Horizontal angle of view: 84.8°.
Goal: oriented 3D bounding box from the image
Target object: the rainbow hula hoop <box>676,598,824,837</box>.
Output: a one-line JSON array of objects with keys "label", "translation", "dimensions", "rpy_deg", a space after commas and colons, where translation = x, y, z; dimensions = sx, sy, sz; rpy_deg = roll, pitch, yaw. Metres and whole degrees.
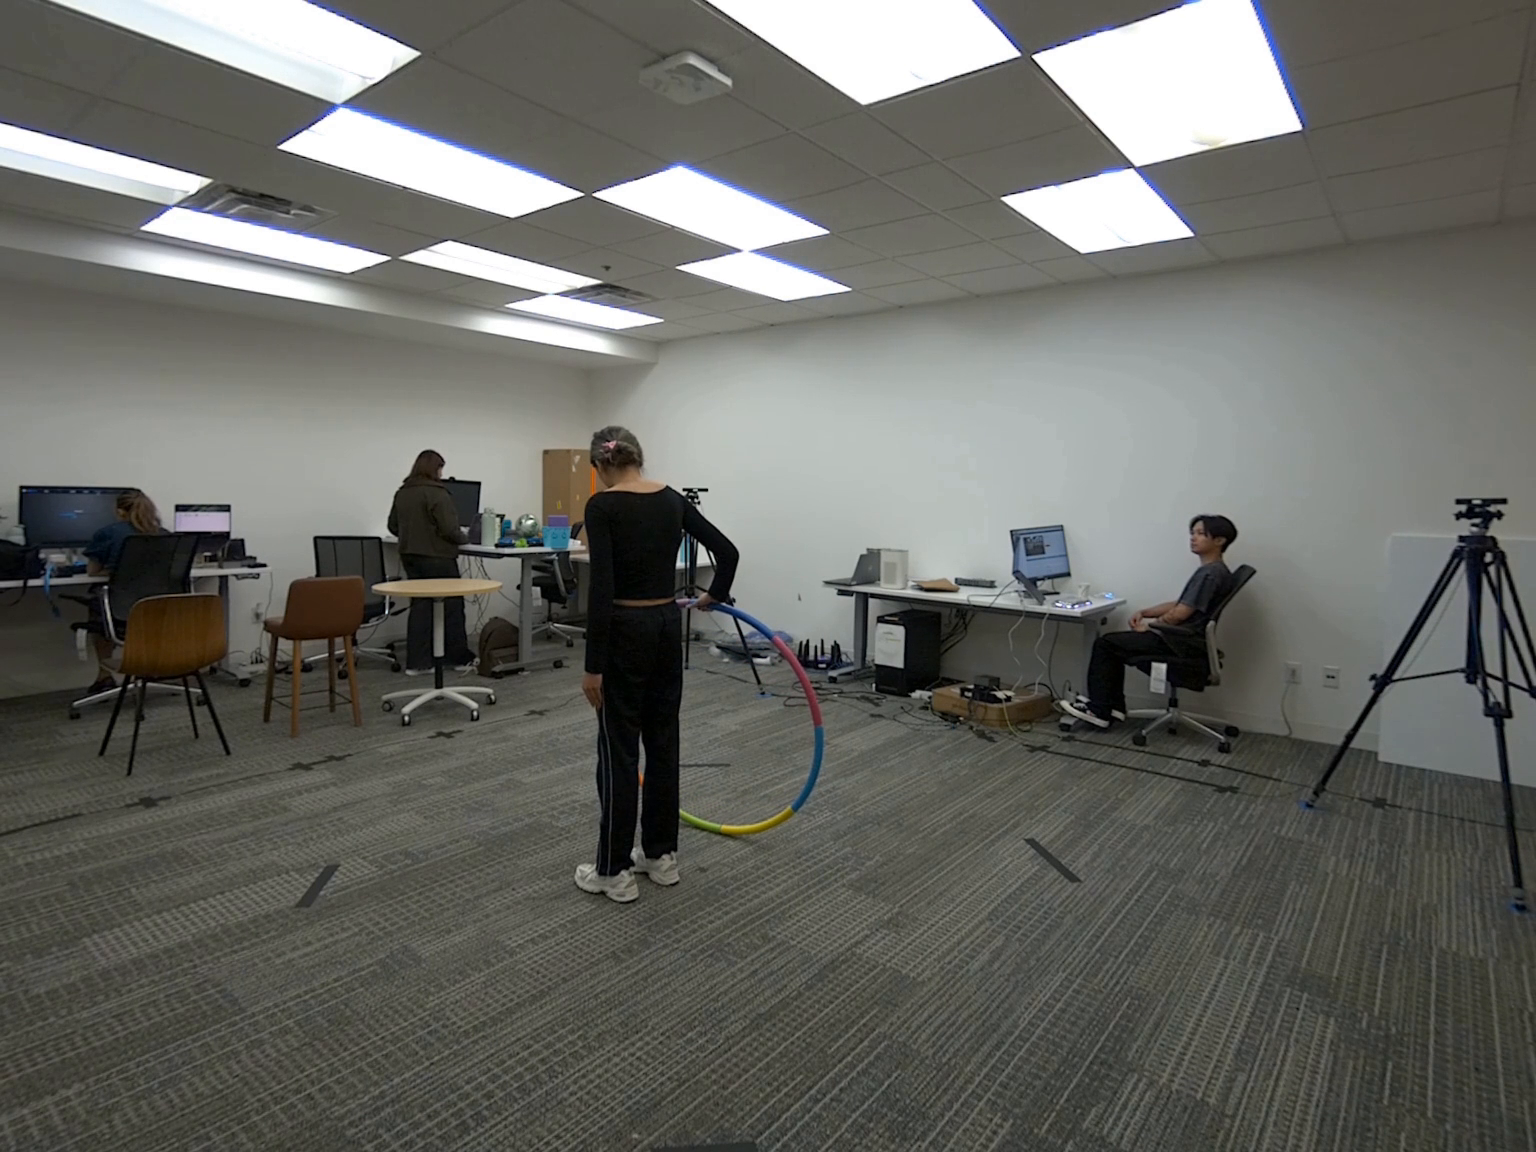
[{"label": "rainbow hula hoop", "translation": [-0.255, 0.562, 3.388], "dimensions": [1.006, 0.970, 0.035], "rpy_deg": [3, 10, 28]}]
